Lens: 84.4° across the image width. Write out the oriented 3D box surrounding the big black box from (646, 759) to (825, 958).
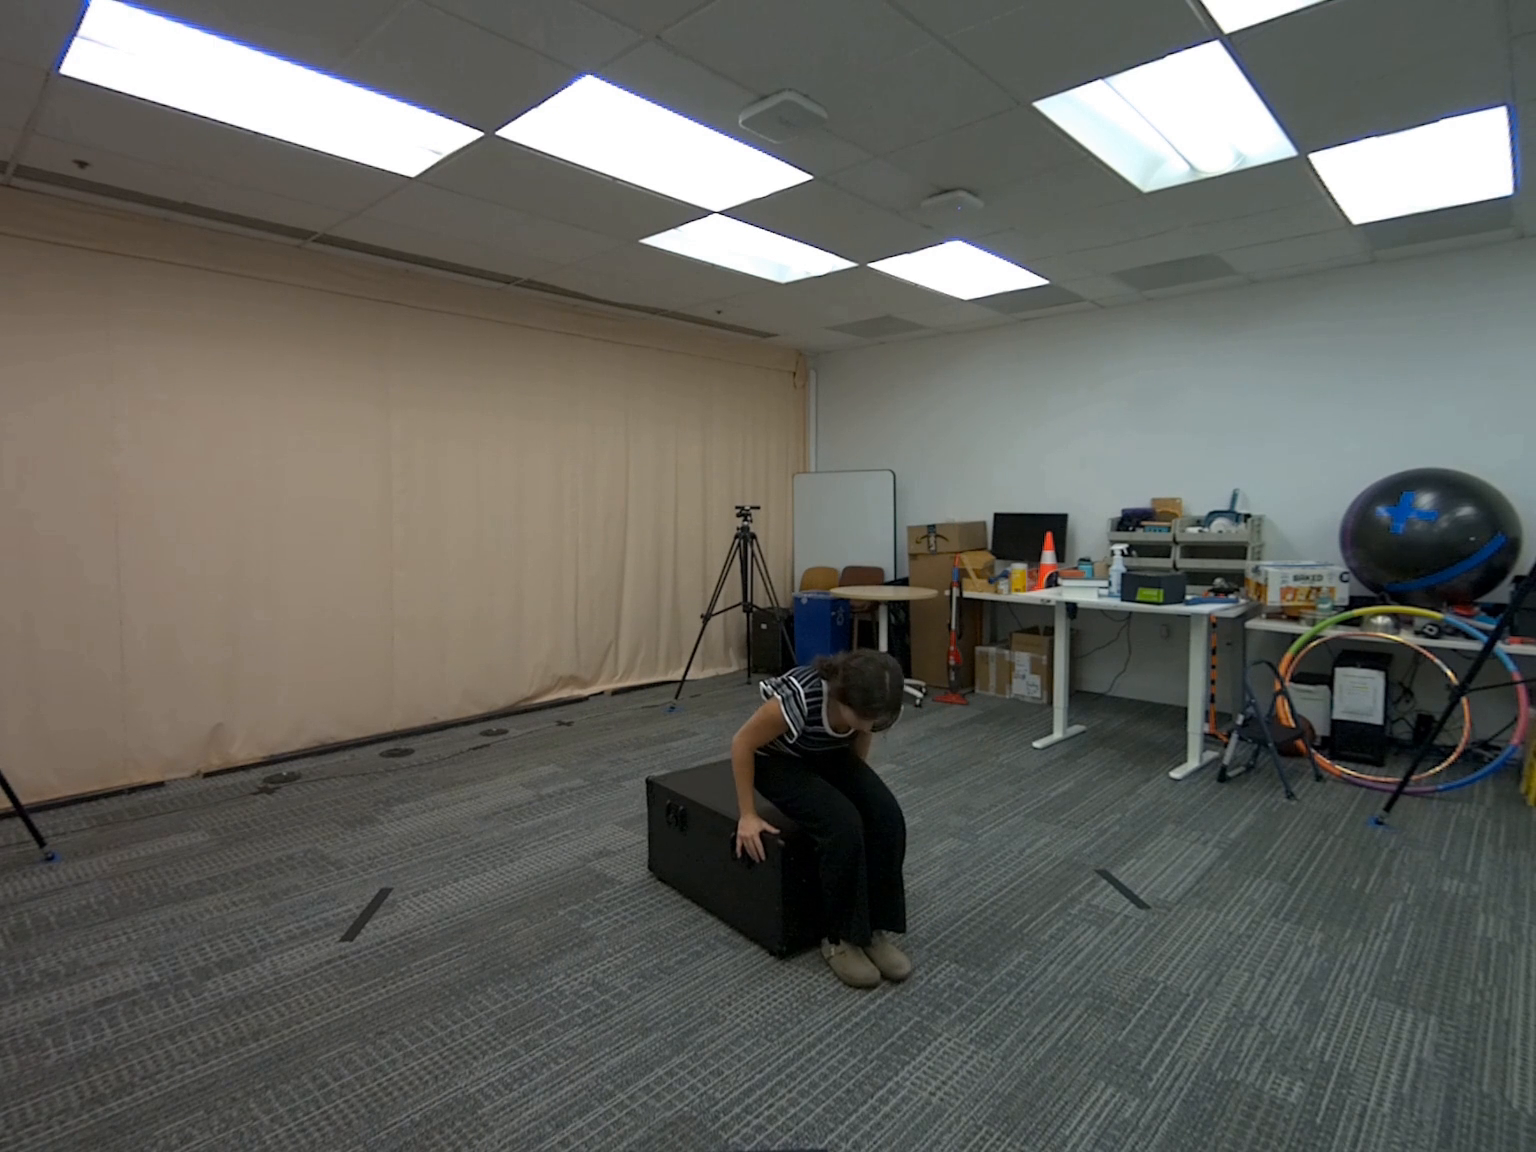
[{"bbox_3d":[-0.039,0.950,3.029,0.506,0.395,0.890,-3,6,-39],"label":"big black box"}]
